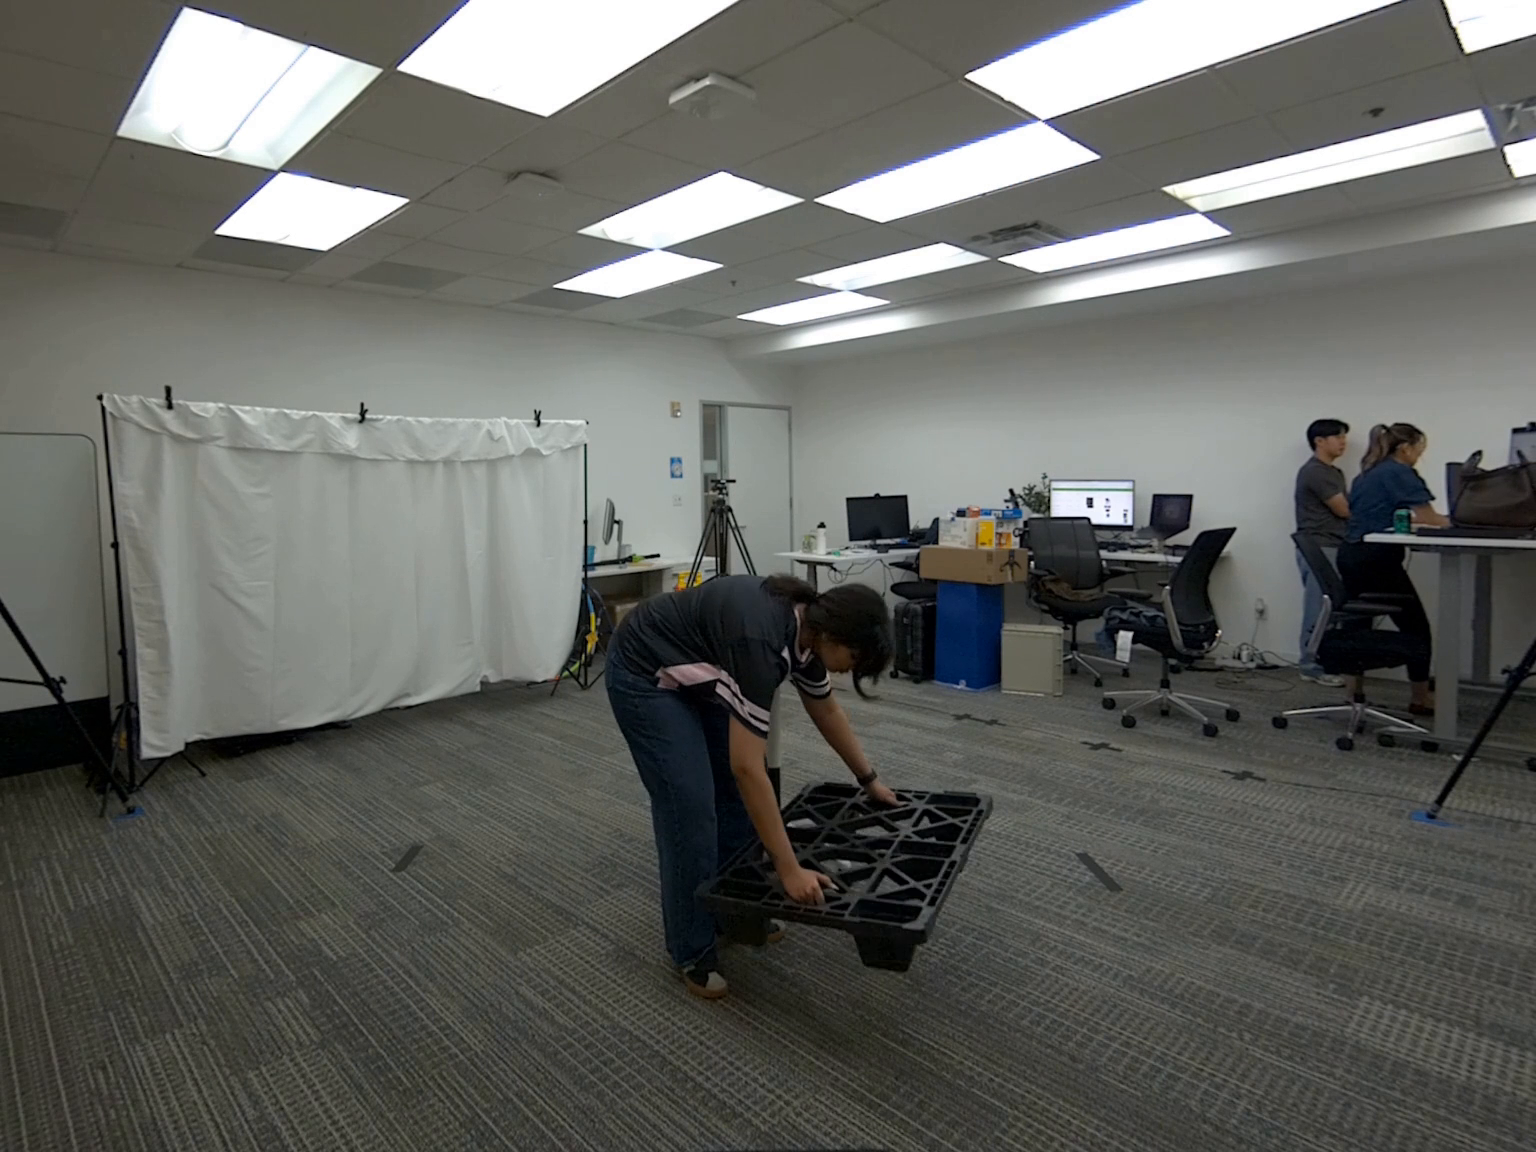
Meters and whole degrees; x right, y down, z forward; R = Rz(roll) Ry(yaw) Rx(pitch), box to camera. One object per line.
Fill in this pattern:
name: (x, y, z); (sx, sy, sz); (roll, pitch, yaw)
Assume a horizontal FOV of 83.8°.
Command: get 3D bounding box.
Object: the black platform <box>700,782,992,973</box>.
black platform: (0.257, 0.796, 2.368); (0.618, 0.143, 0.791); (-4, 6, 27)
